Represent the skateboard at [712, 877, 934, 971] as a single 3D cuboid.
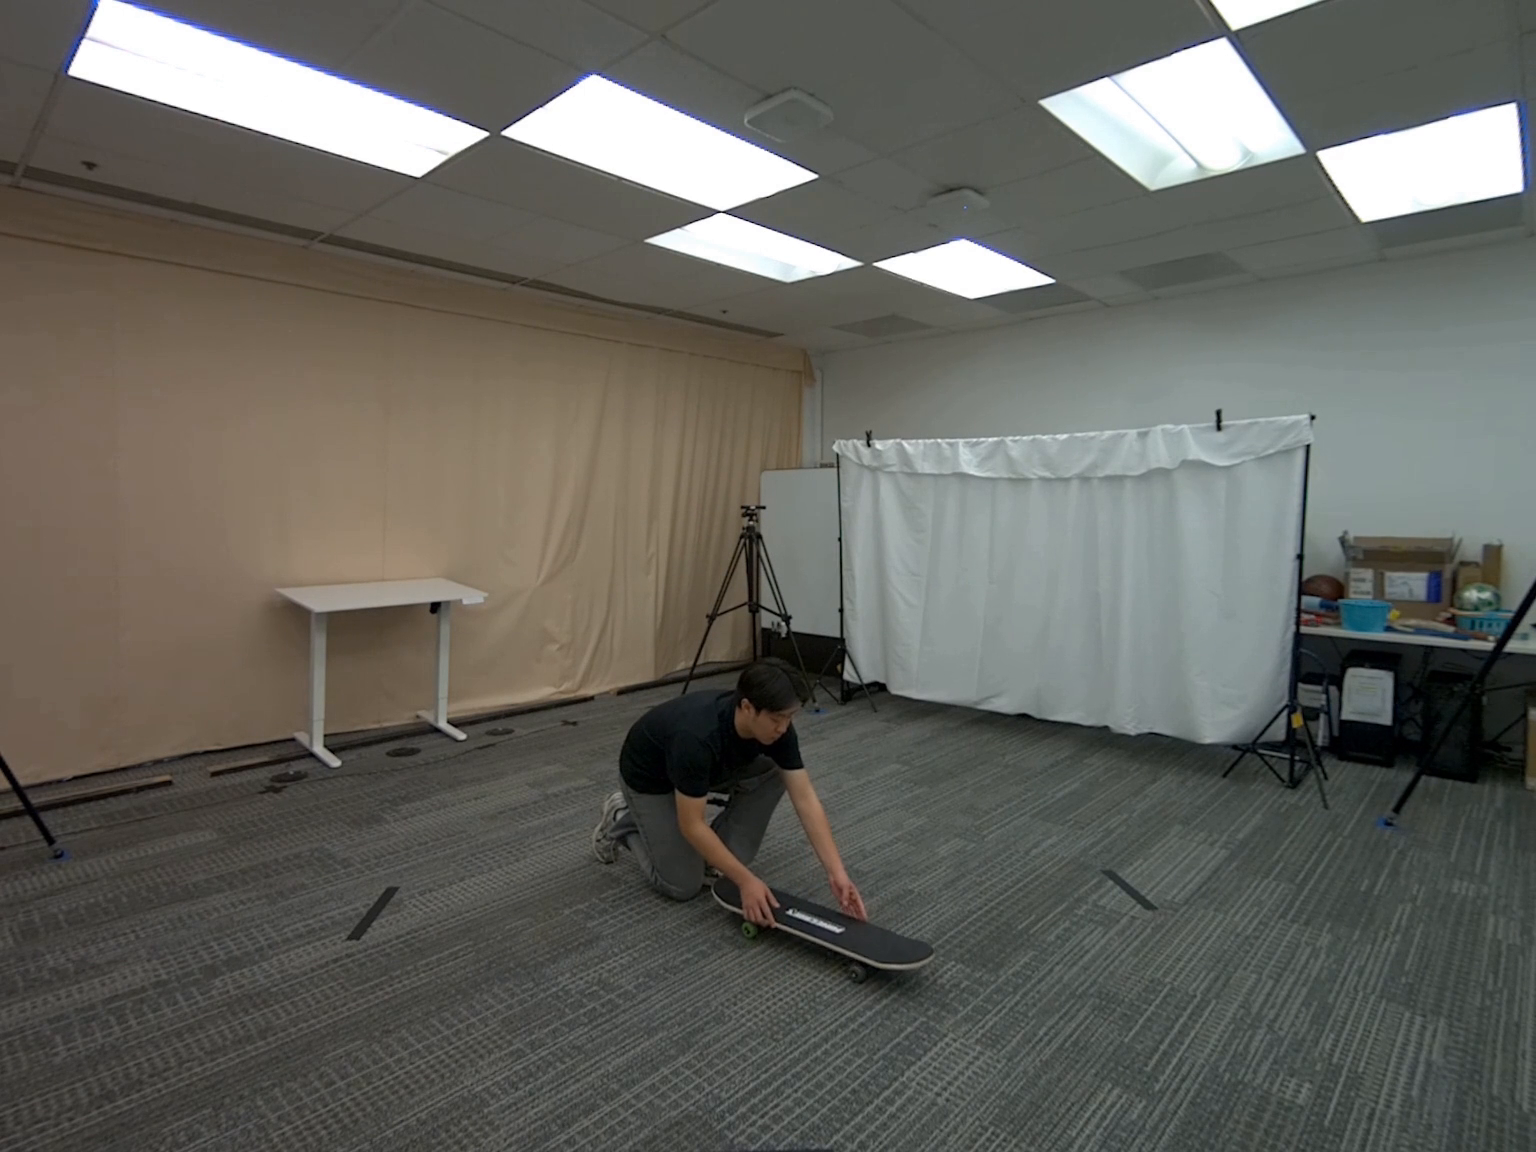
[{"bbox_3d":[0.150,1.111,2.647,0.811,0.110,0.188,3,5,37],"label":"skateboard"}]
